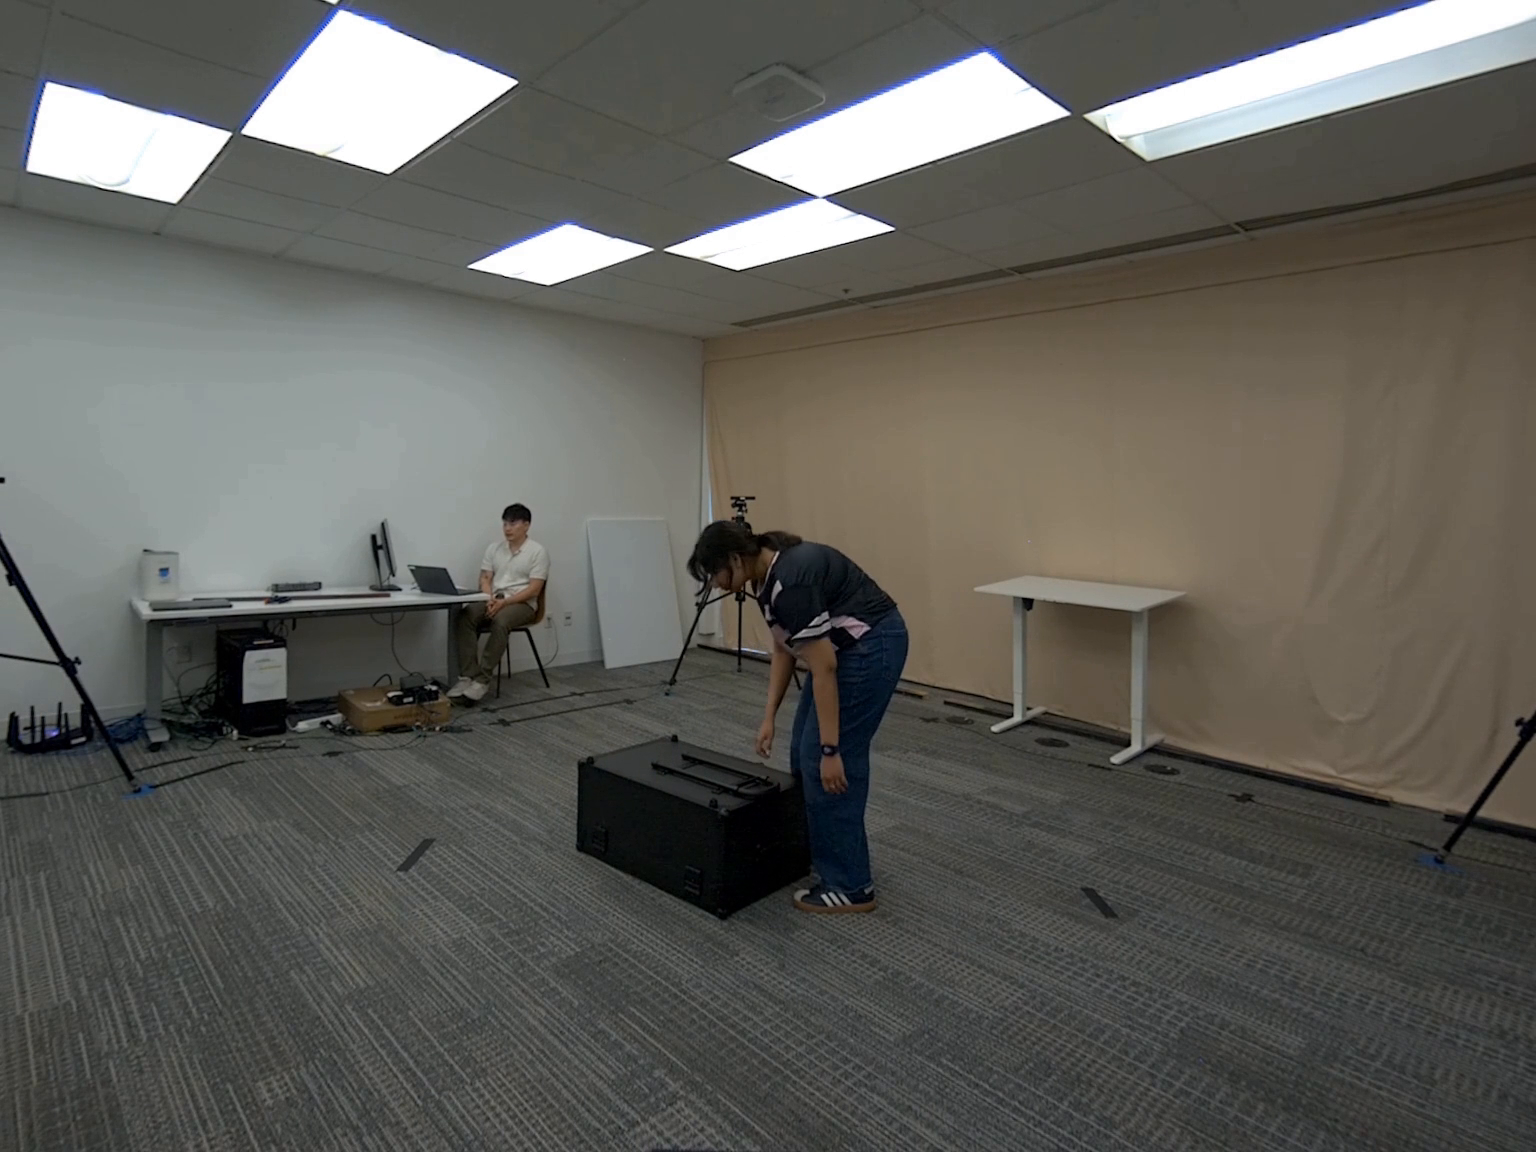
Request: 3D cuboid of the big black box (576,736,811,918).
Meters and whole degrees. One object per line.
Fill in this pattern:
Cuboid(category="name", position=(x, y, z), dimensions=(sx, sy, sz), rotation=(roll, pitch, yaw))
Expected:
Cuboid(category="big black box", position=(-0.330, 0.906, 3.214), dimensions=(0.890, 0.384, 0.512), rotation=(5, 7, 41))
